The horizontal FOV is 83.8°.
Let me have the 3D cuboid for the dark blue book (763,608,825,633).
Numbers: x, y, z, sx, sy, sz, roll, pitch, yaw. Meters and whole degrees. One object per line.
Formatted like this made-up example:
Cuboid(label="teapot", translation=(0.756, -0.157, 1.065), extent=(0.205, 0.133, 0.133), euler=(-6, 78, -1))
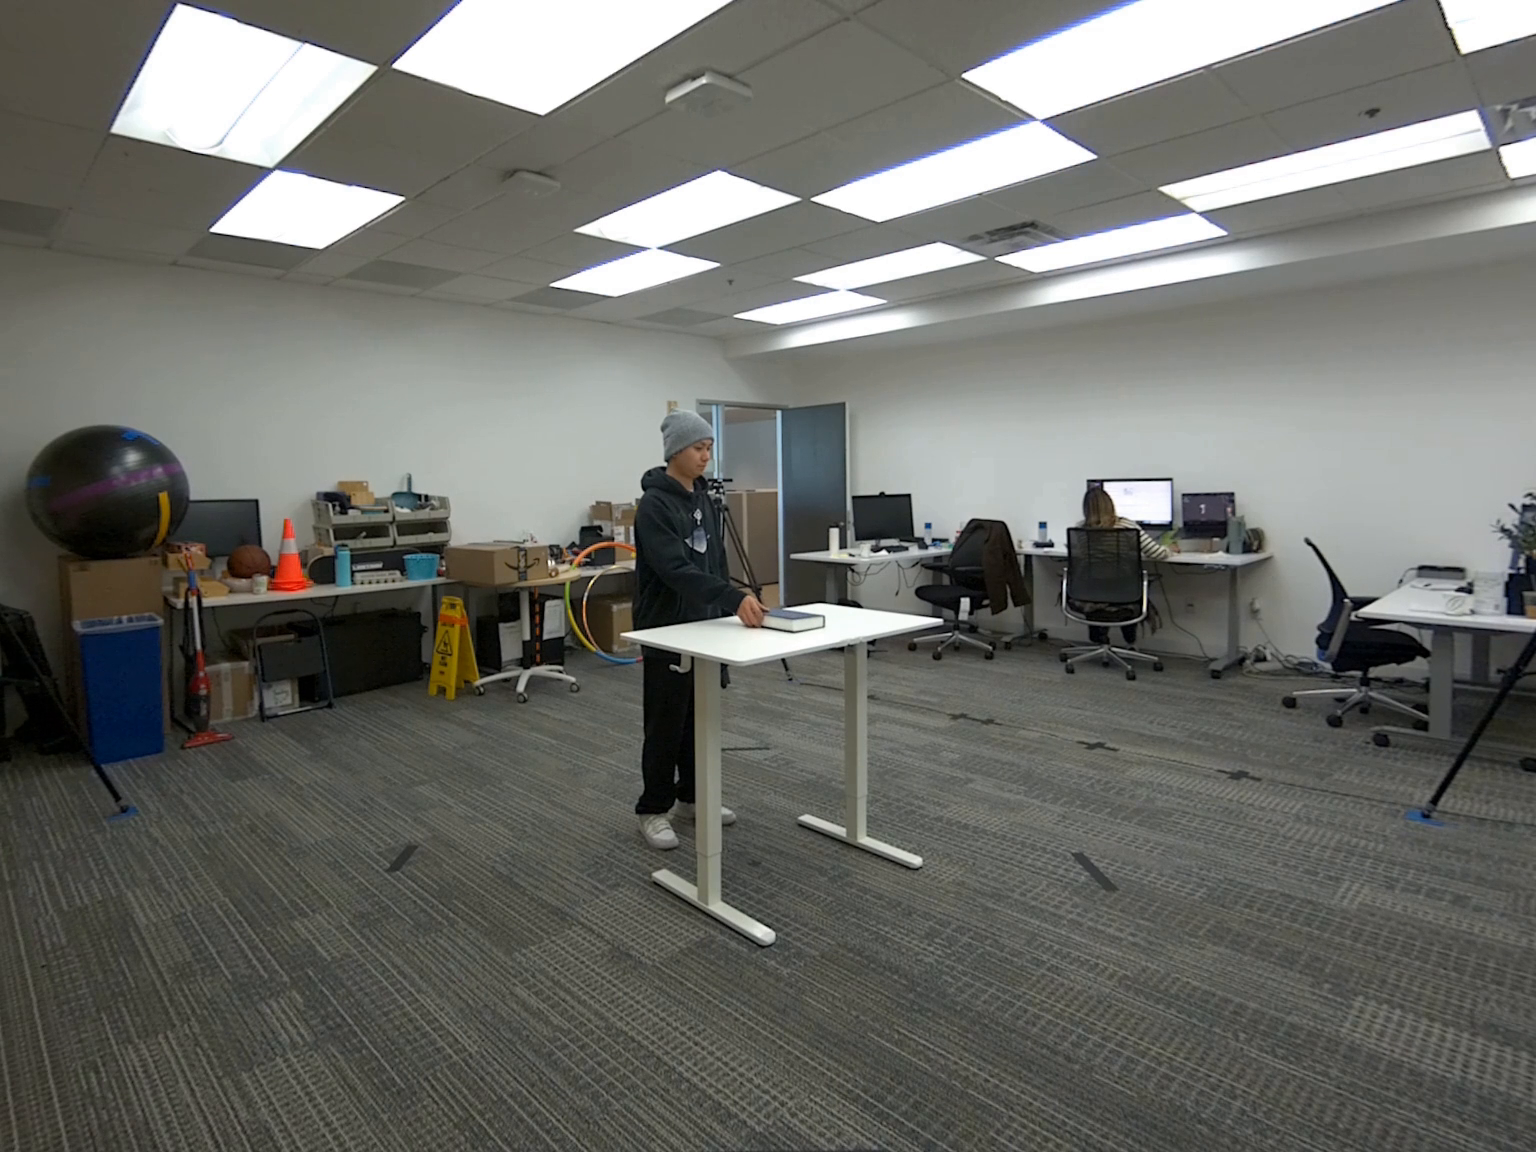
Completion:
Cuboid(label="dark blue book", translation=(0.065, 0.152, 2.982), extent=(0.159, 0.045, 0.253), euler=(-3, 7, -43))
